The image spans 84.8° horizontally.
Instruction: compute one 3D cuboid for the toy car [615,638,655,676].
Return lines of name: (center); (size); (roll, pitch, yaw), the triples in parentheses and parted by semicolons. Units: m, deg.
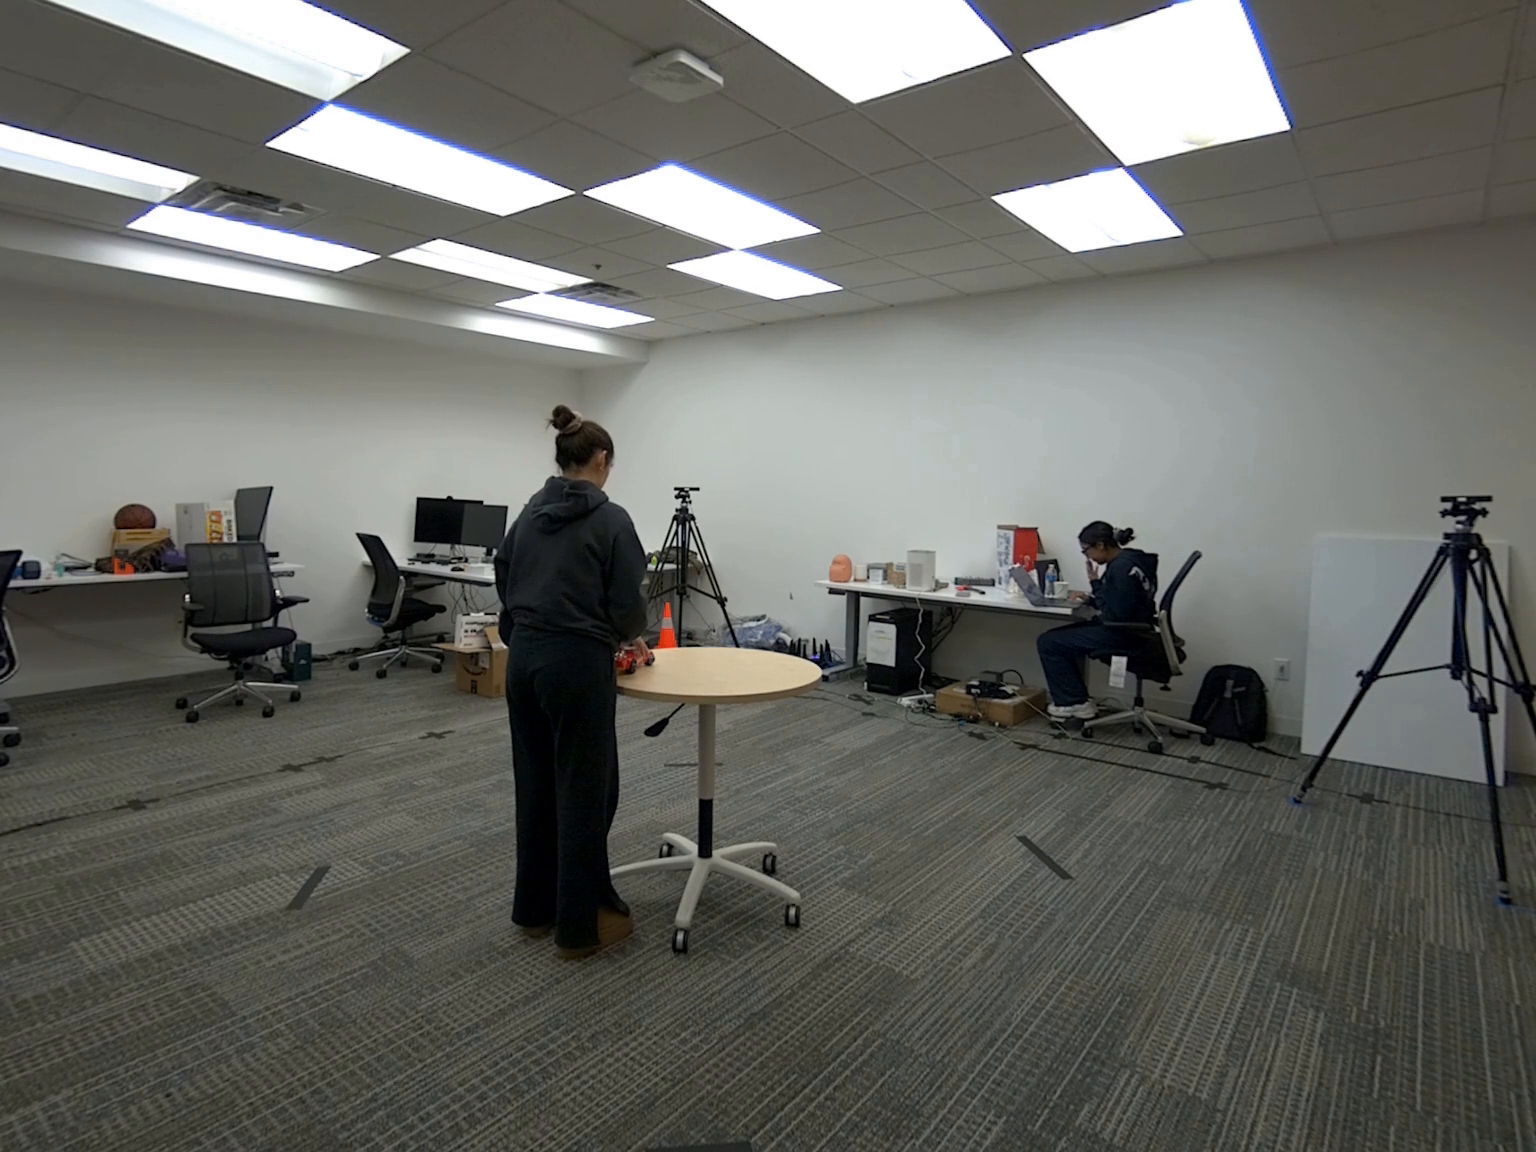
toy car: (-0.474, 0.279, 2.827); (0.133, 0.084, 0.248); (3, -5, 16)
